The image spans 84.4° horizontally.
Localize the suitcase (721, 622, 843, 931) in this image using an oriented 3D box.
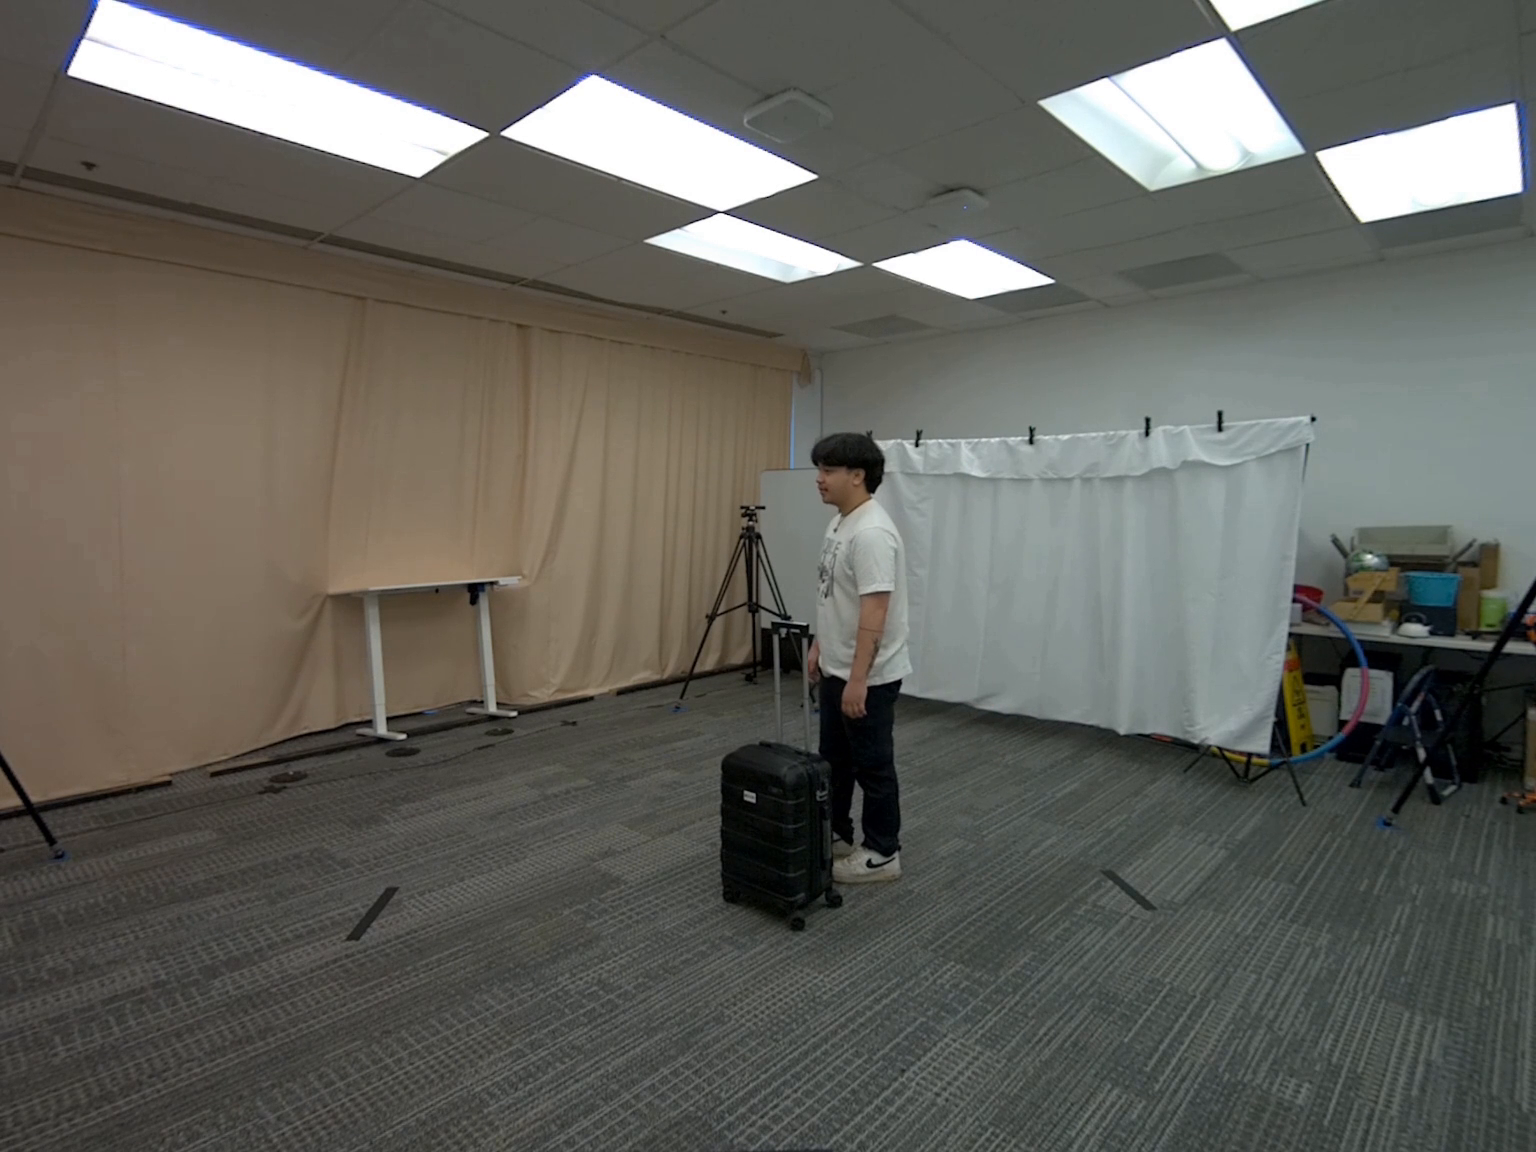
[{"bbox_3d":[0.023,0.671,2.916,0.397,0.975,0.249,2,7,43],"label":"suitcase"}]
